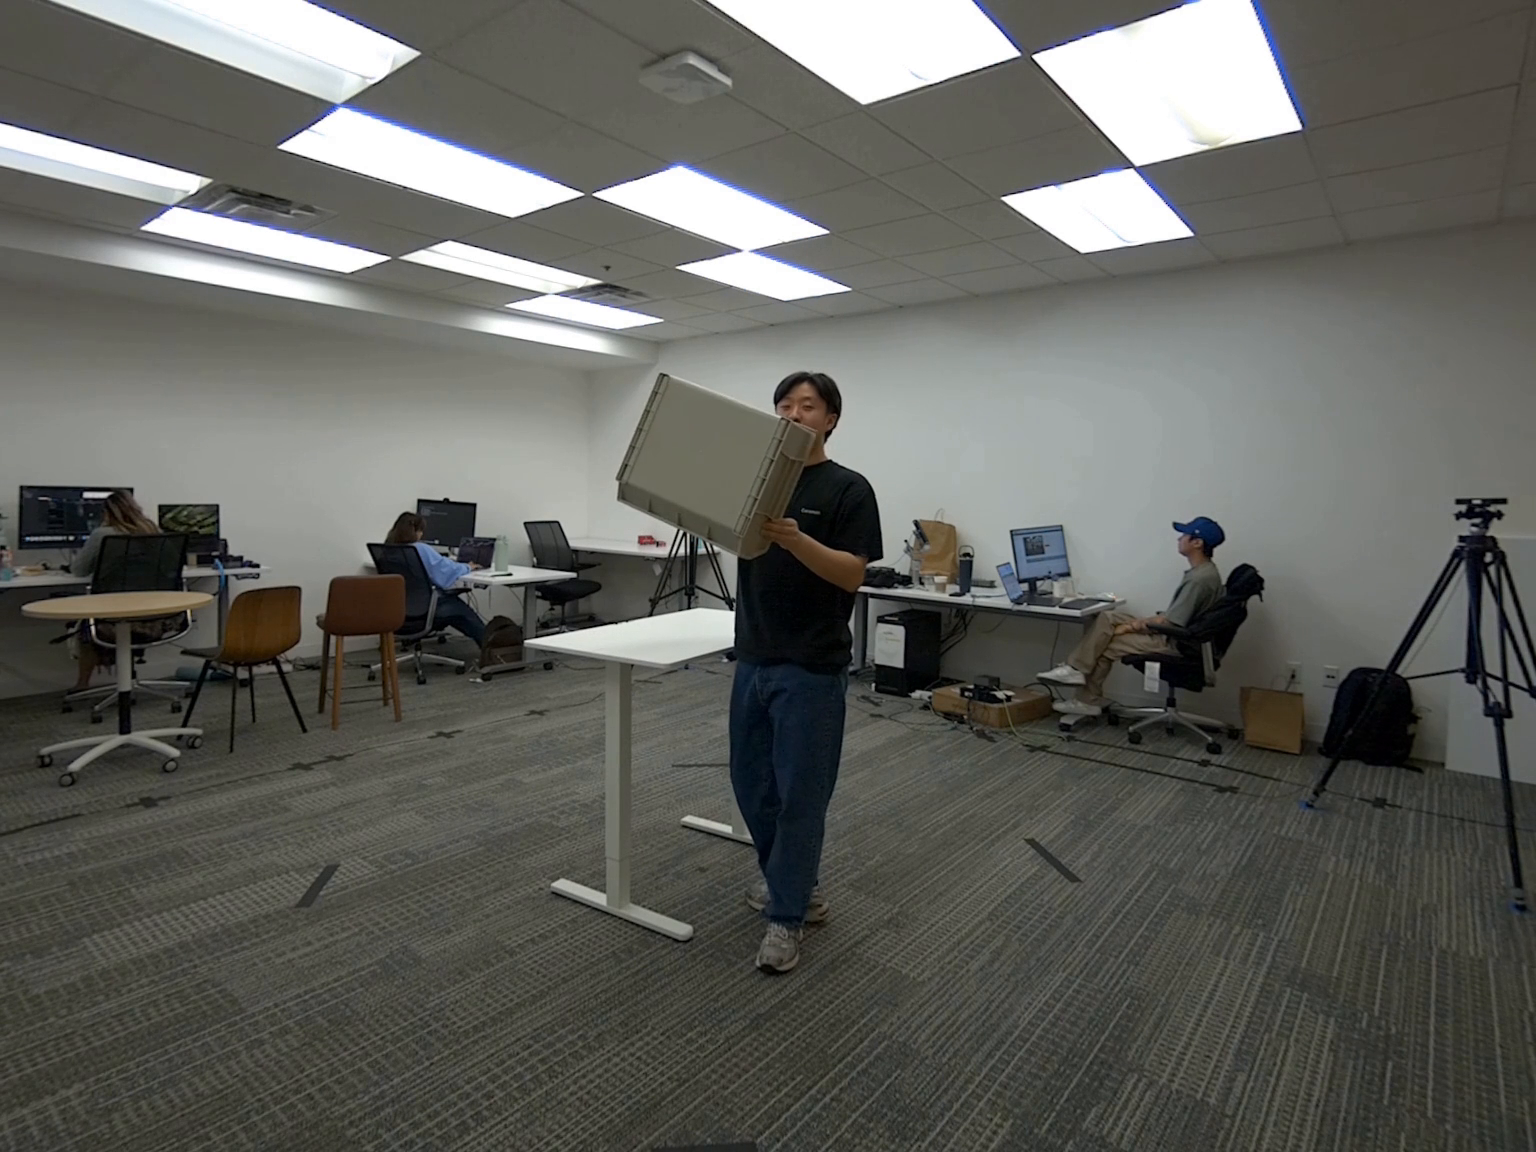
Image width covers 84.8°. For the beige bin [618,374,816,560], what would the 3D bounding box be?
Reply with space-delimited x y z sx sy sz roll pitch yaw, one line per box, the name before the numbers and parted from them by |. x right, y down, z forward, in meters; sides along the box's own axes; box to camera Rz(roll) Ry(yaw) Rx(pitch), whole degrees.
beige bin | -0.158 -0.296 2.281 0.436 0.376 0.183 25 5 25
